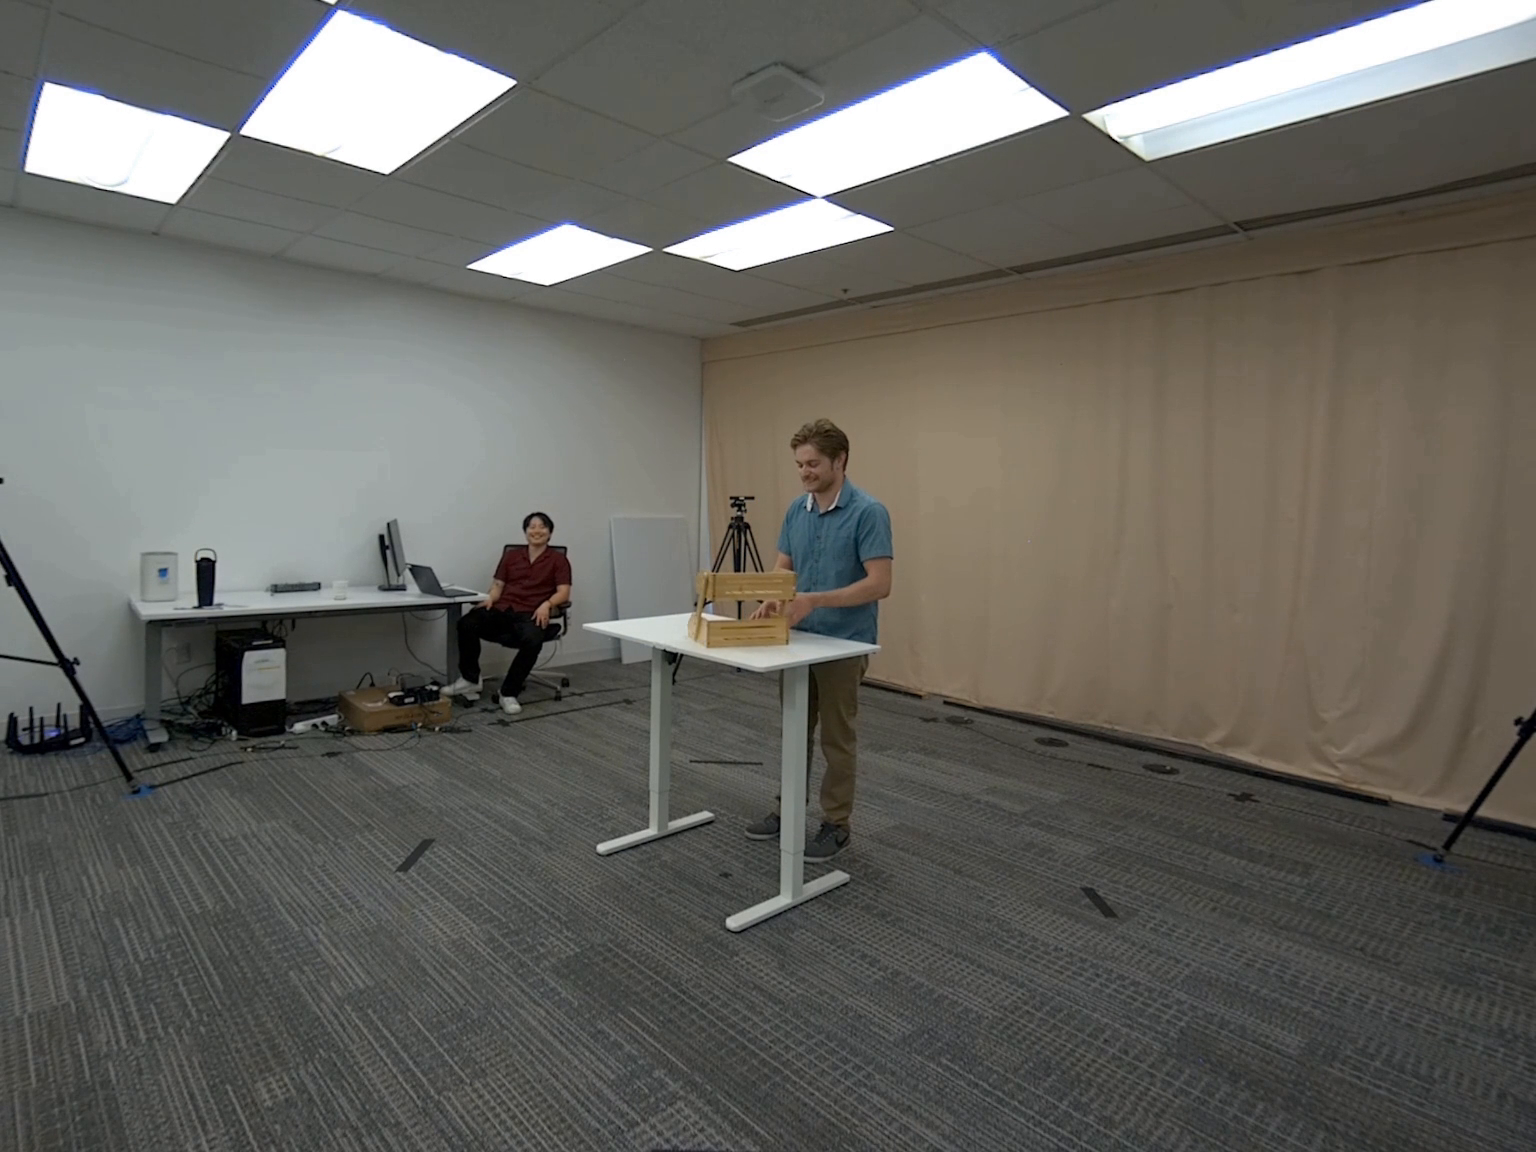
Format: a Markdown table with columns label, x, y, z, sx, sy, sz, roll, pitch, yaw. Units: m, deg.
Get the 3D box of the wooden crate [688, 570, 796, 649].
| label | x | y | z | sx | sy | sz | roll | pitch | yaw |
| --- | --- | --- | --- | --- | --- | --- | --- | --- | --- |
| wooden crate | -0.106 | 0.103 | 2.982 | 0.320 | 0.272 | 0.307 | 0 | 6 | -19 |
